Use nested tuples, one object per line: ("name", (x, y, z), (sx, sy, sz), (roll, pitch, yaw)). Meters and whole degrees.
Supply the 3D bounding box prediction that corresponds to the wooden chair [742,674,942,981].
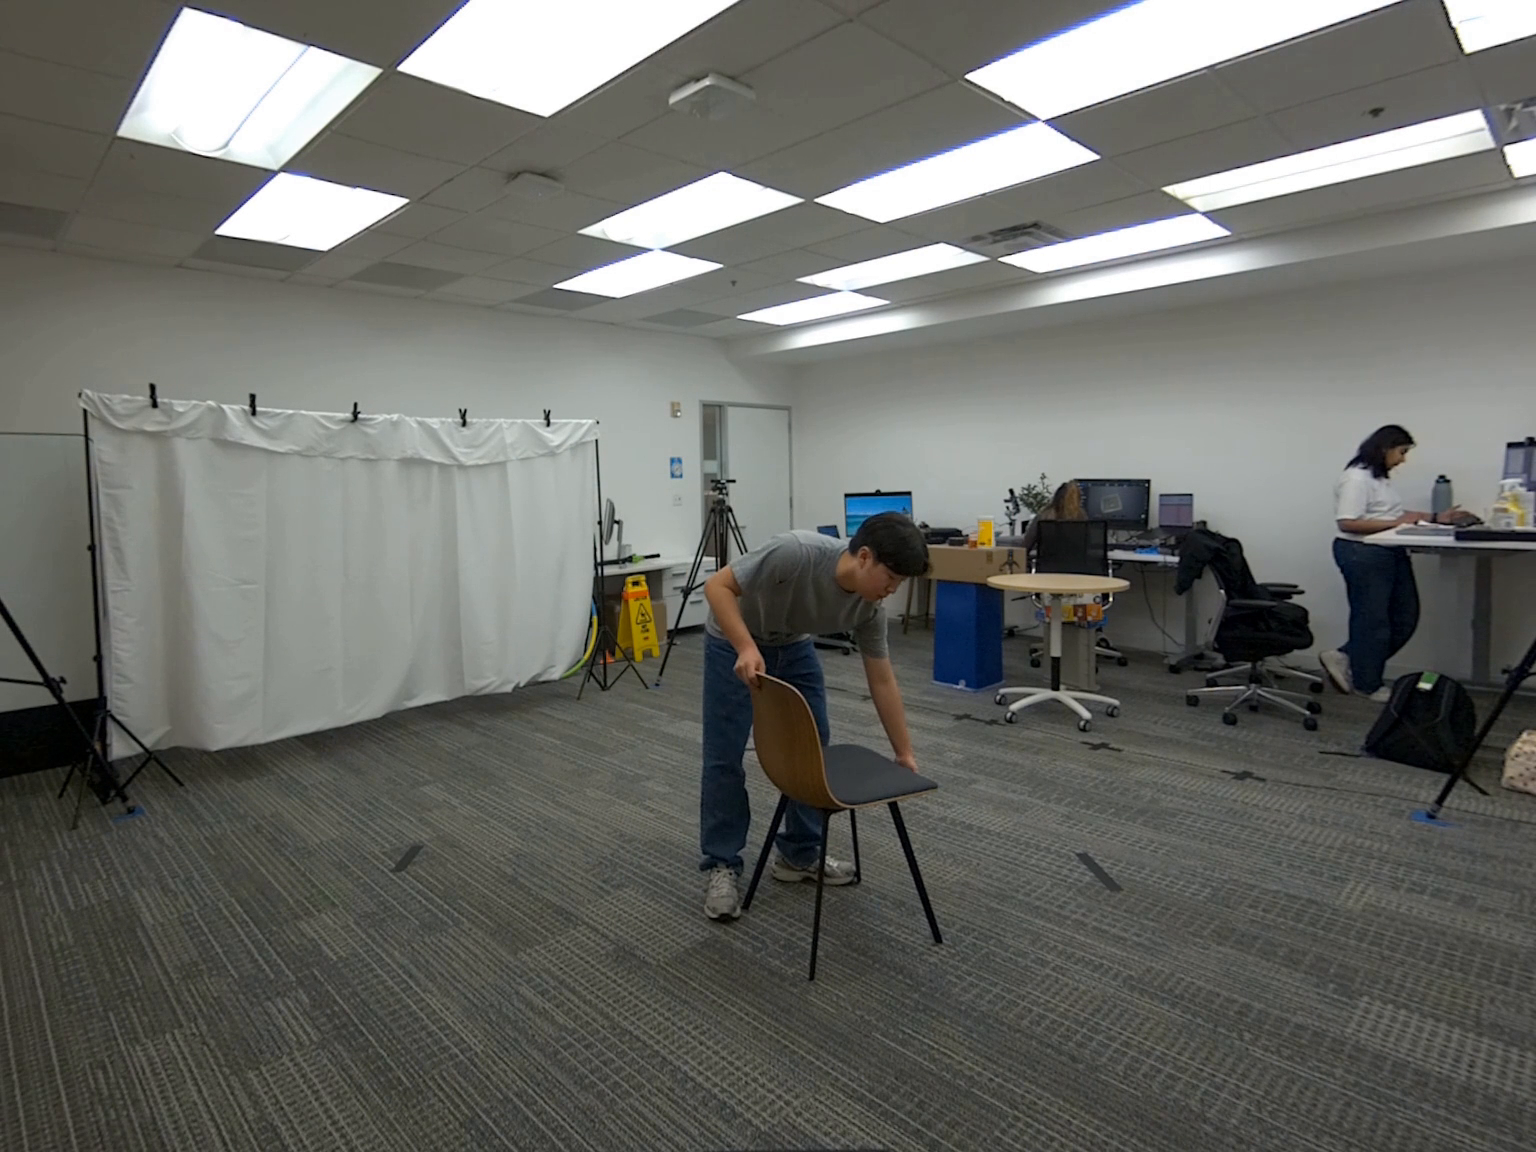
("wooden chair", (0.219, 0.672, 2.633), (0.513, 0.873, 0.489), (-7, 6, -24))
